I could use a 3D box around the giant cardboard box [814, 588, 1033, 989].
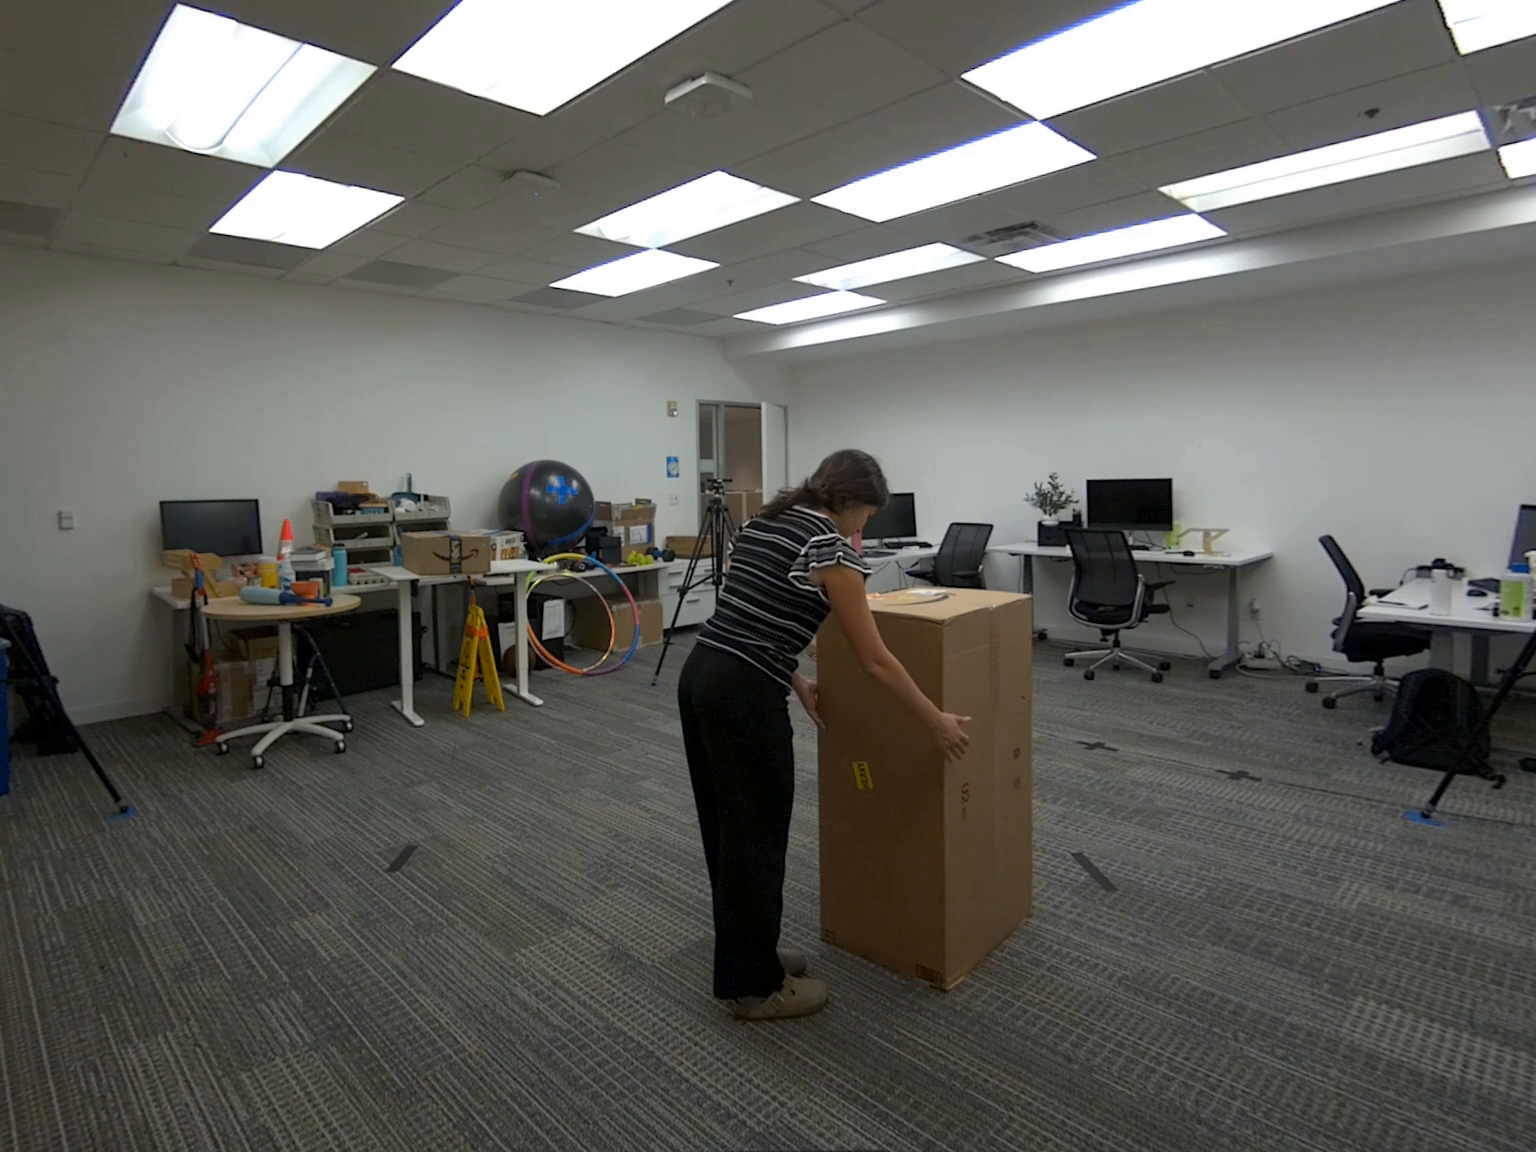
[{"bbox_3d":[0.496,0.584,2.628,0.439,1.022,0.562,2,5,41],"label":"giant cardboard box"}]
